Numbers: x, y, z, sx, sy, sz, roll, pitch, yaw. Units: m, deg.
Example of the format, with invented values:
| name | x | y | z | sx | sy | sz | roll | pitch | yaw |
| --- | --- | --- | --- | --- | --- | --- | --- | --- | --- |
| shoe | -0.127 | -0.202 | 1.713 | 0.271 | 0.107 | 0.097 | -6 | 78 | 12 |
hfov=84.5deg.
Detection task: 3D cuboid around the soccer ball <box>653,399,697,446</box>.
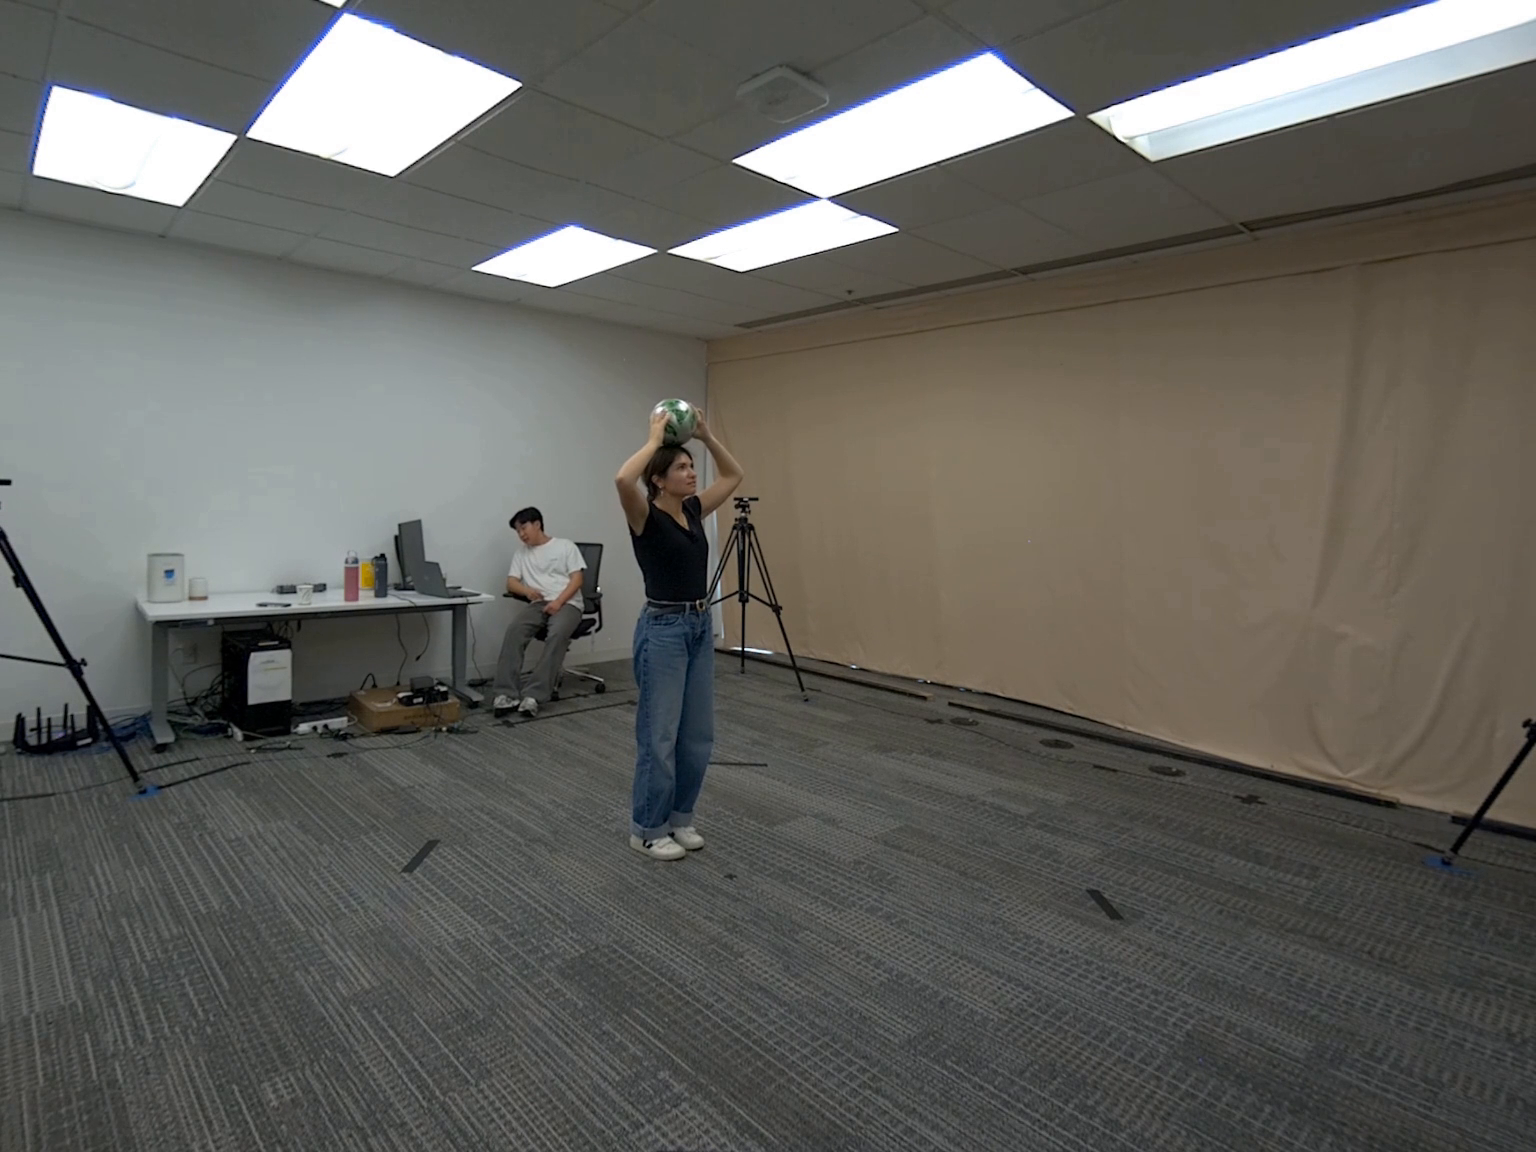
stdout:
| name | x | y | z | sx | sy | sz | roll | pitch | yaw |
| --- | --- | --- | --- | --- | --- | --- | --- | --- | --- |
| soccer ball | -0.377 | -0.593 | 3.277 | 0.187 | 0.187 | 0.188 | 1 | 4 | -1 |
